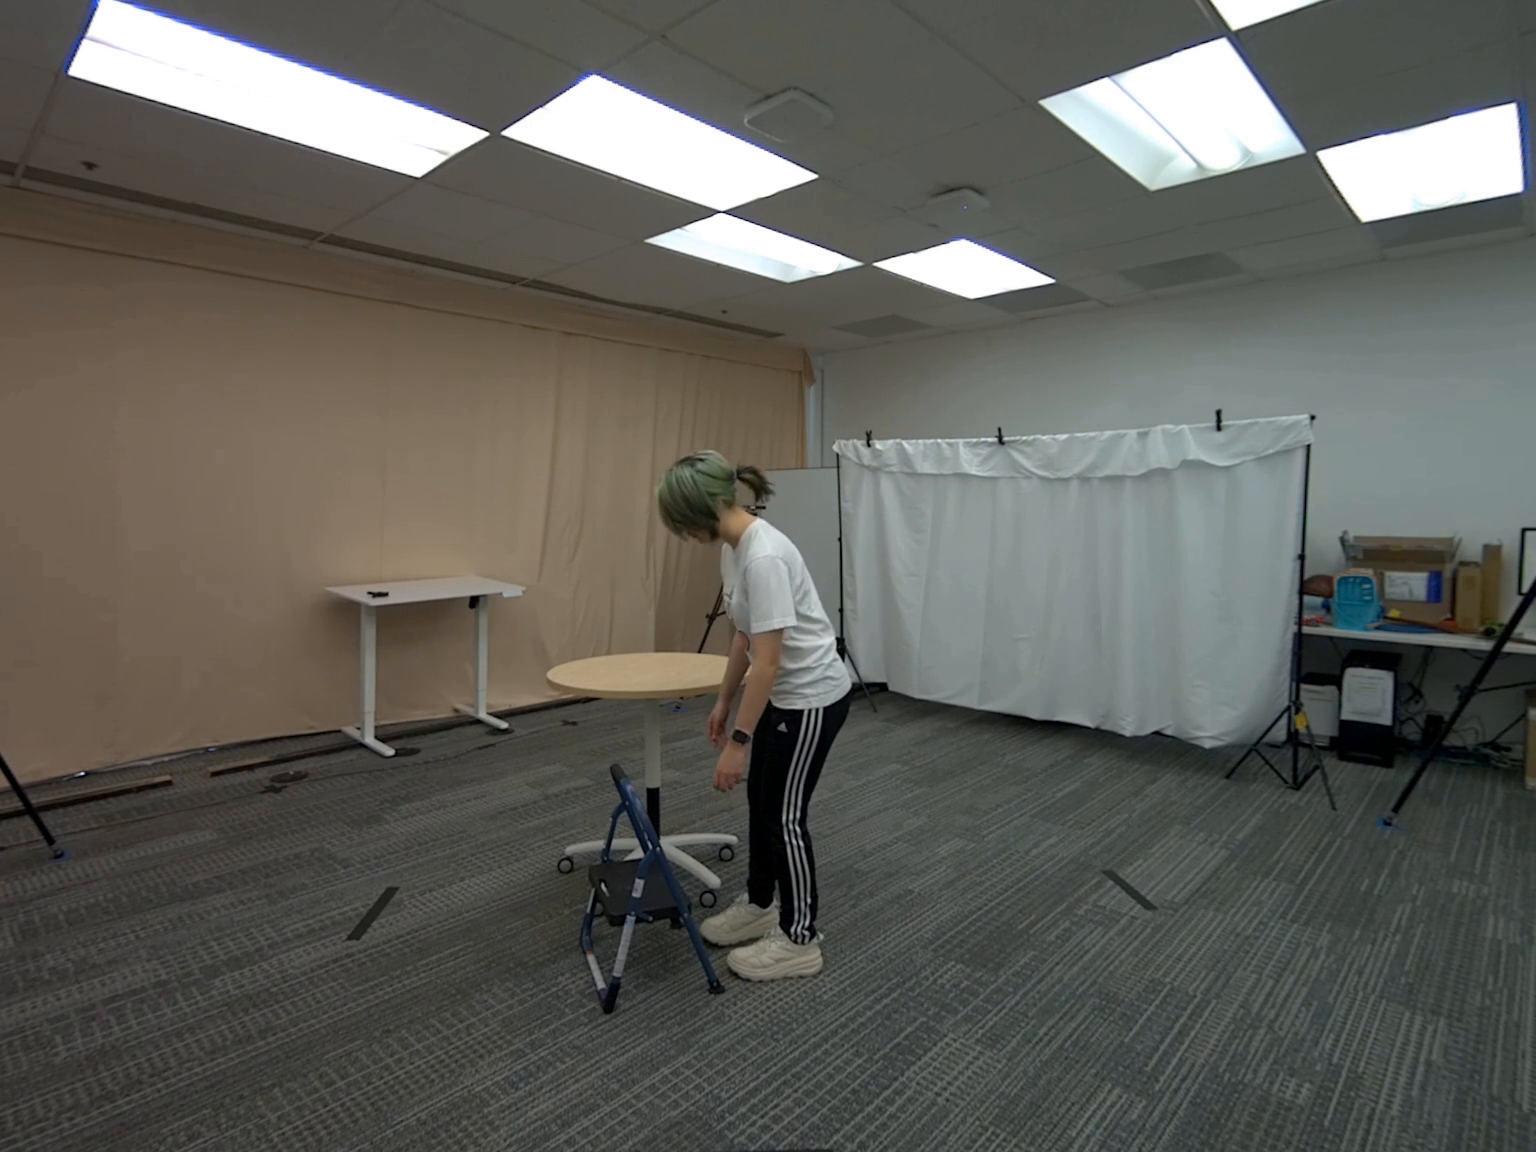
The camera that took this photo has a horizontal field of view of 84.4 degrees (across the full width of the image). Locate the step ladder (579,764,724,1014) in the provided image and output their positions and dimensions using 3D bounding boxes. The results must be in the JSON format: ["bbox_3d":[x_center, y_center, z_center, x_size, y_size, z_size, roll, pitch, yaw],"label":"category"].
[{"bbox_3d":[-0.364,0.886,2.540,0.342,0.605,0.441,-2,4,-22],"label":"step ladder"}]
